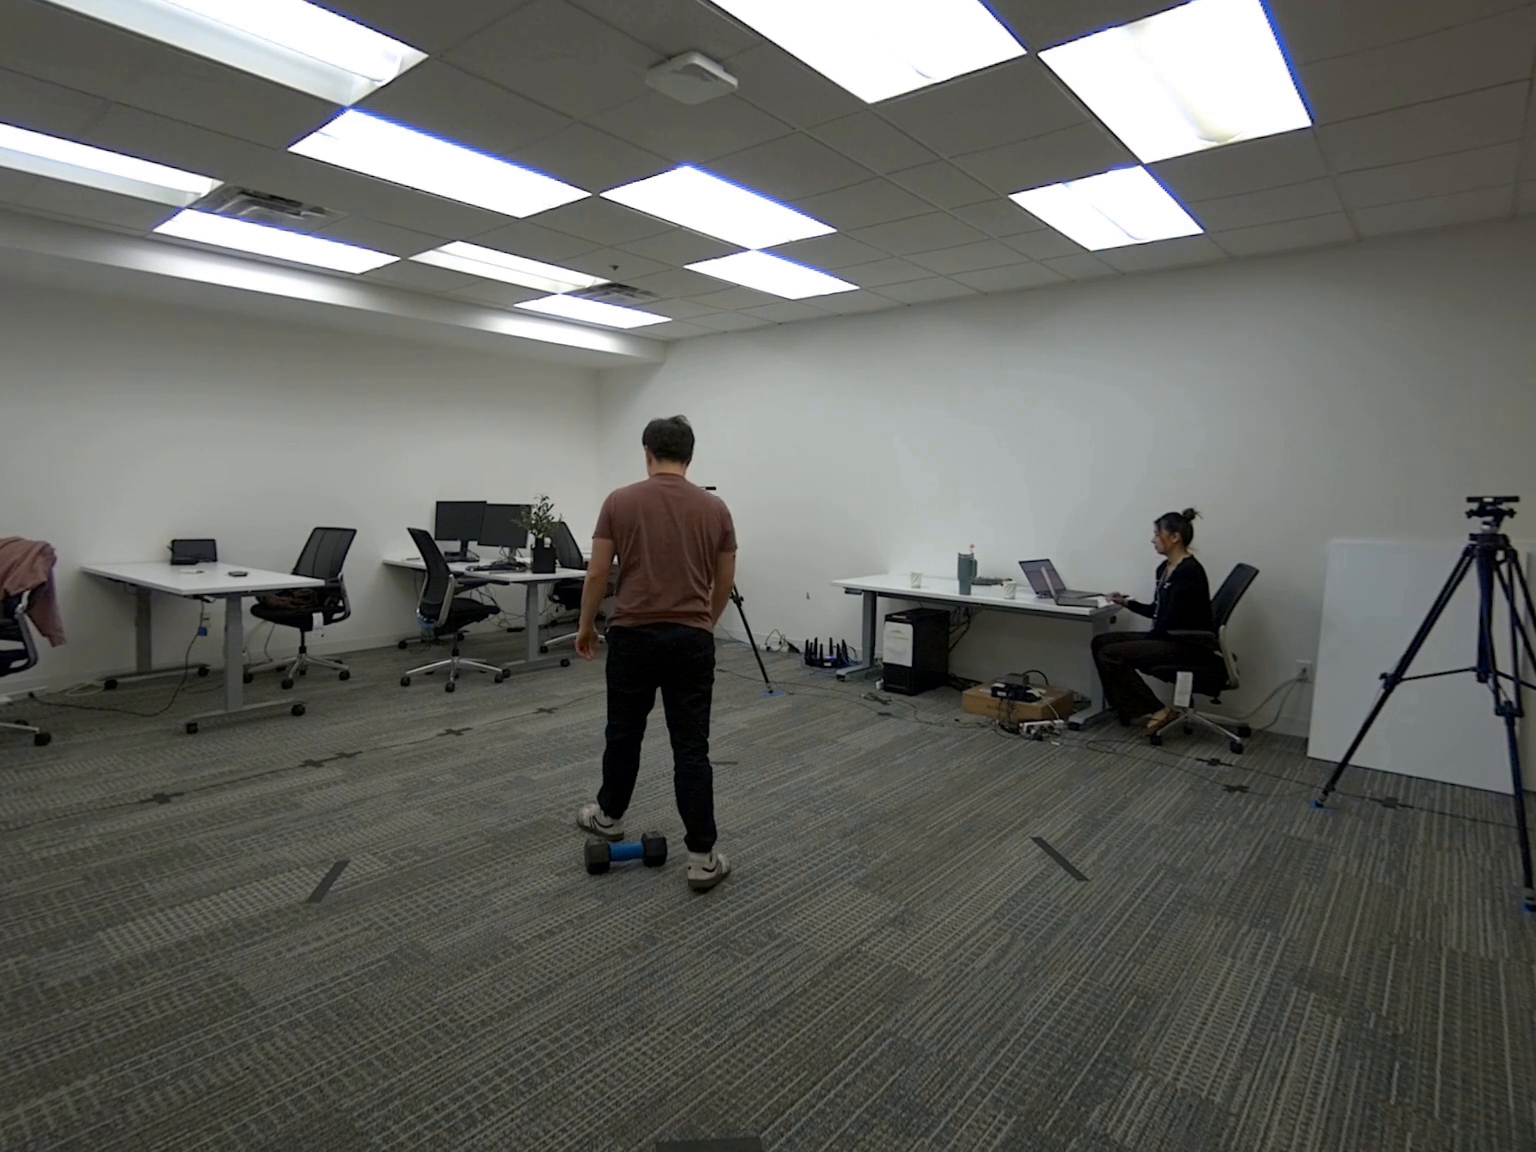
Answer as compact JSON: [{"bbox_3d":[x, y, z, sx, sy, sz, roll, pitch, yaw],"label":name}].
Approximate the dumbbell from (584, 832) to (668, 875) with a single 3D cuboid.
[{"bbox_3d":[-0.528,1.009,3.108,0.288,0.108,0.125,-2,3,-19],"label":"dumbbell"}]
